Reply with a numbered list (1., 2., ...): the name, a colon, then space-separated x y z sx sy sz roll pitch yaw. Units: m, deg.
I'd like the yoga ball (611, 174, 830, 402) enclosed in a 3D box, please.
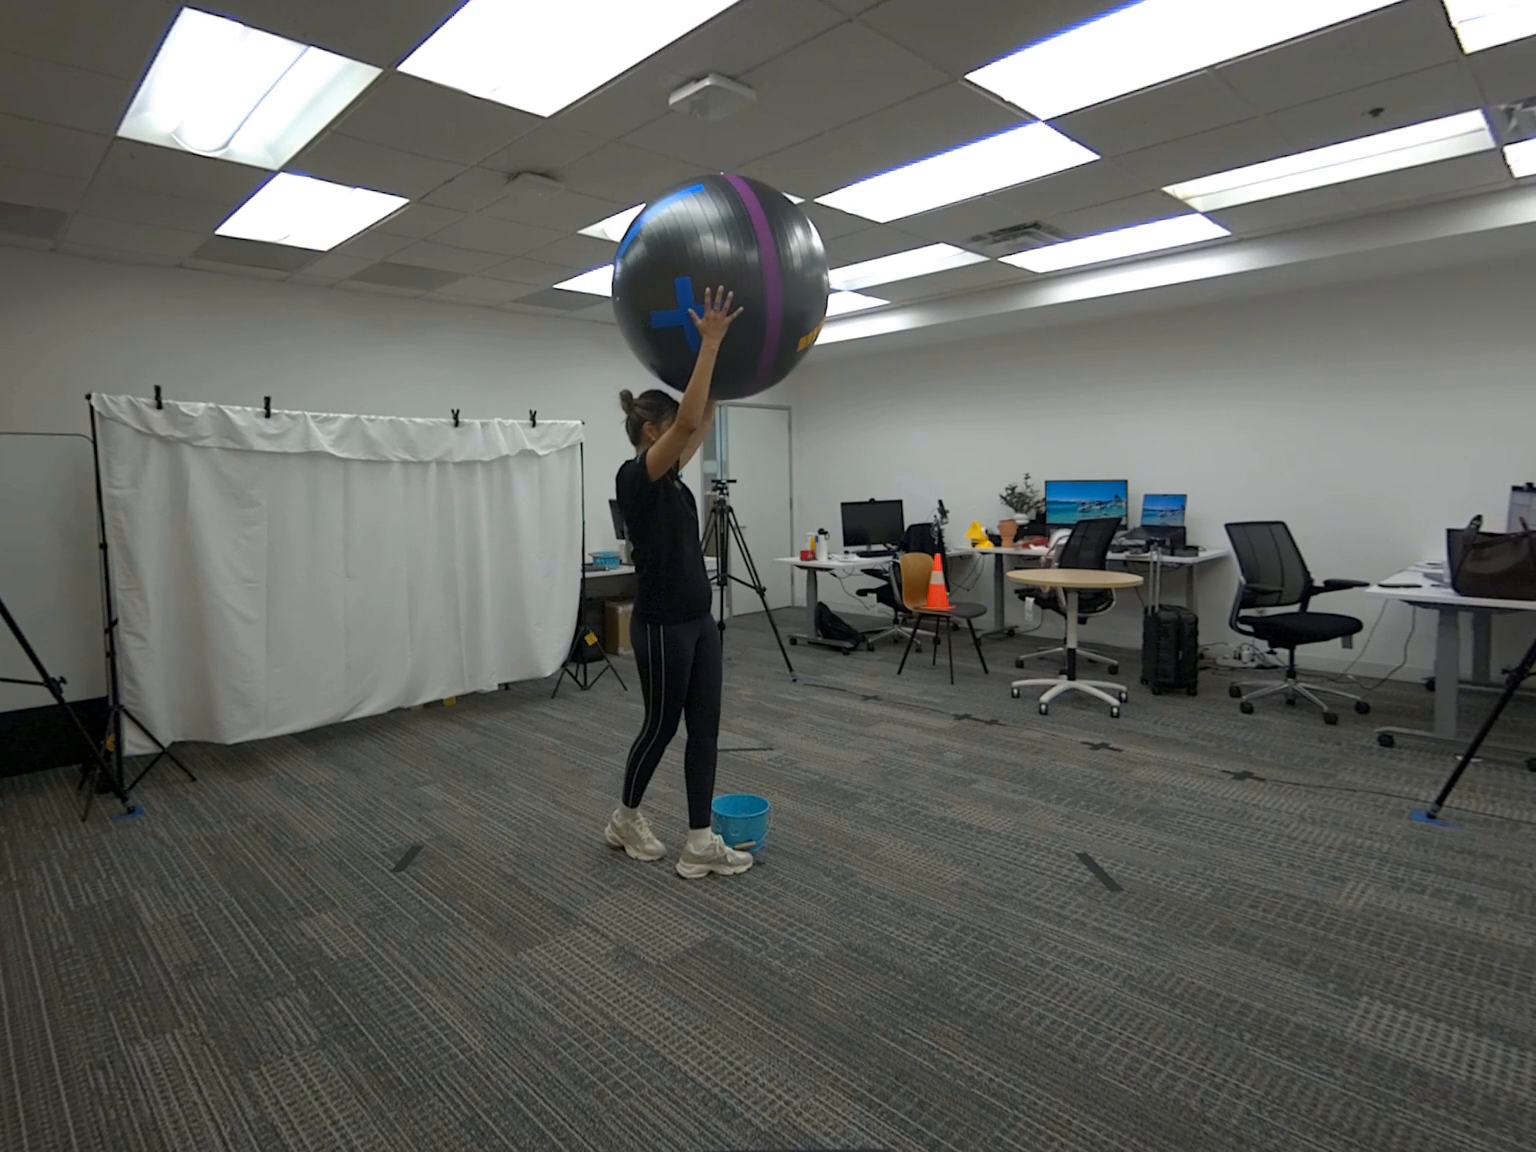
1. yoga ball: -0.159 -0.988 2.979 0.757 0.755 0.762 -1 5 -2
